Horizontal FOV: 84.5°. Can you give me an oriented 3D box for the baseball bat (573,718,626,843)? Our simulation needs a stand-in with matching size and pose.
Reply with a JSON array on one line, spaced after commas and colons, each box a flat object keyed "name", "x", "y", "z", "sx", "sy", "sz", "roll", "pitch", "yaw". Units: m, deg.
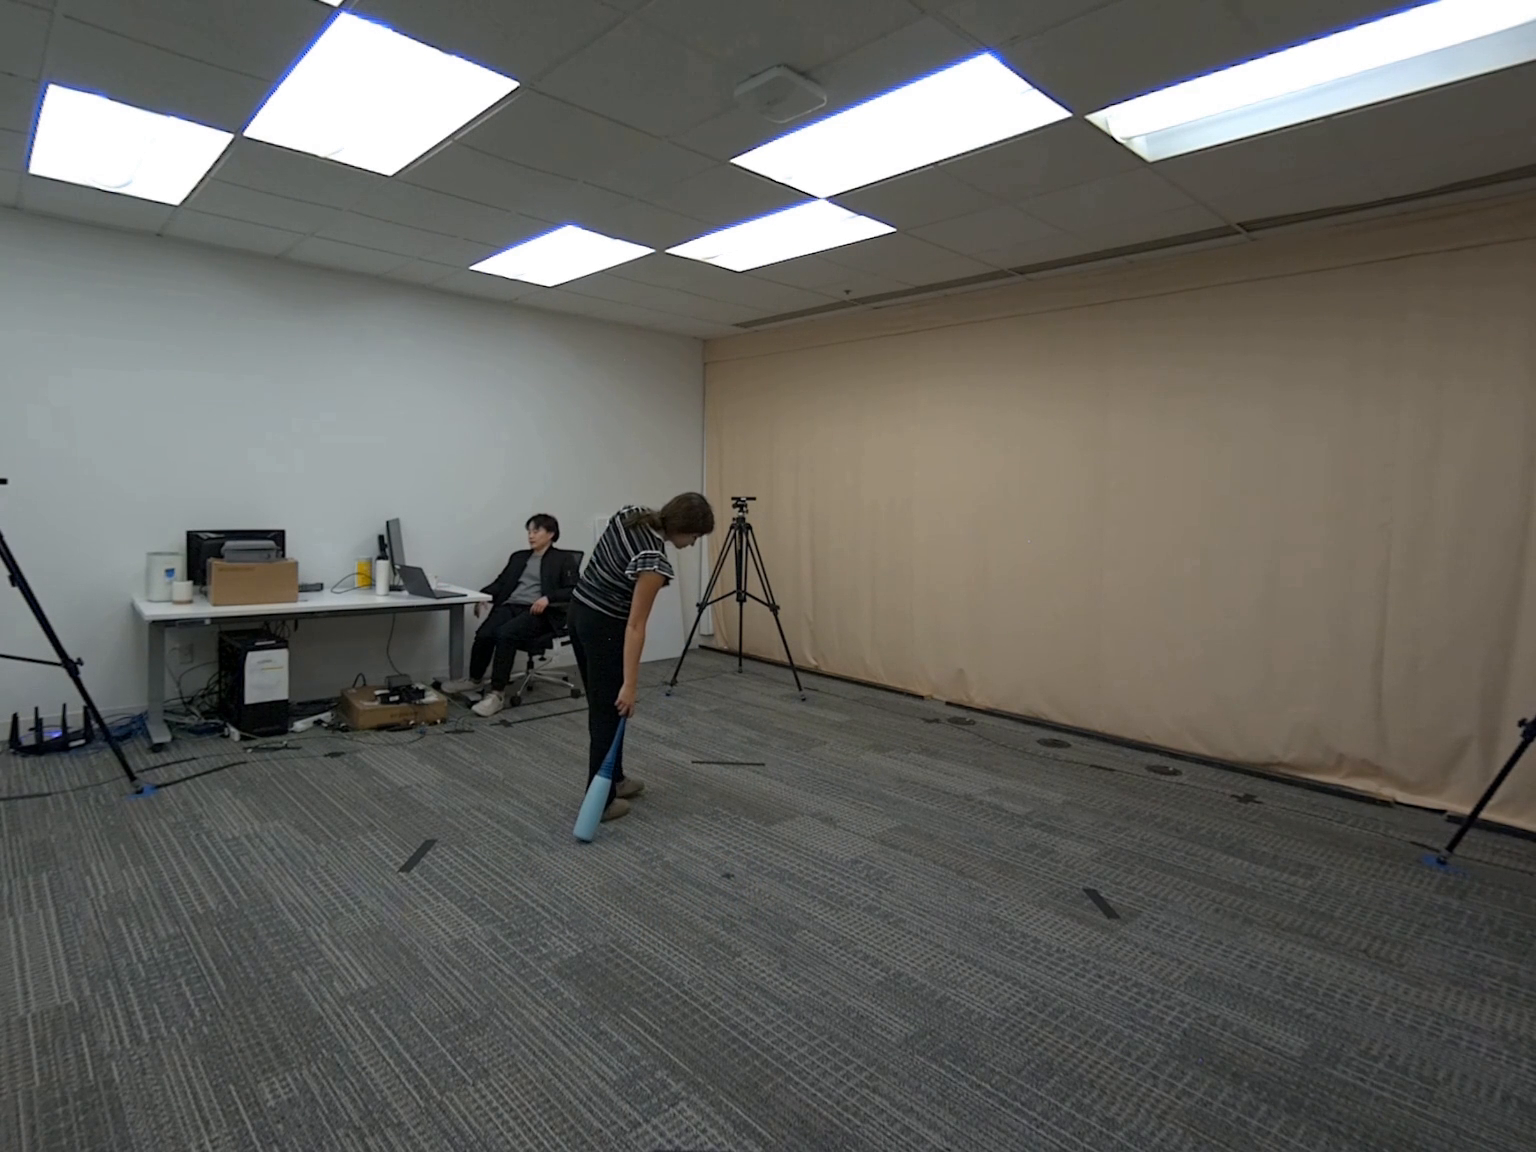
[{"name": "baseball bat", "x": -0.679, "y": 0.811, "z": 3.450, "sx": 0.089, "sy": 0.547, "sz": 0.088, "roll": 17, "pitch": -16, "yaw": 3}]
